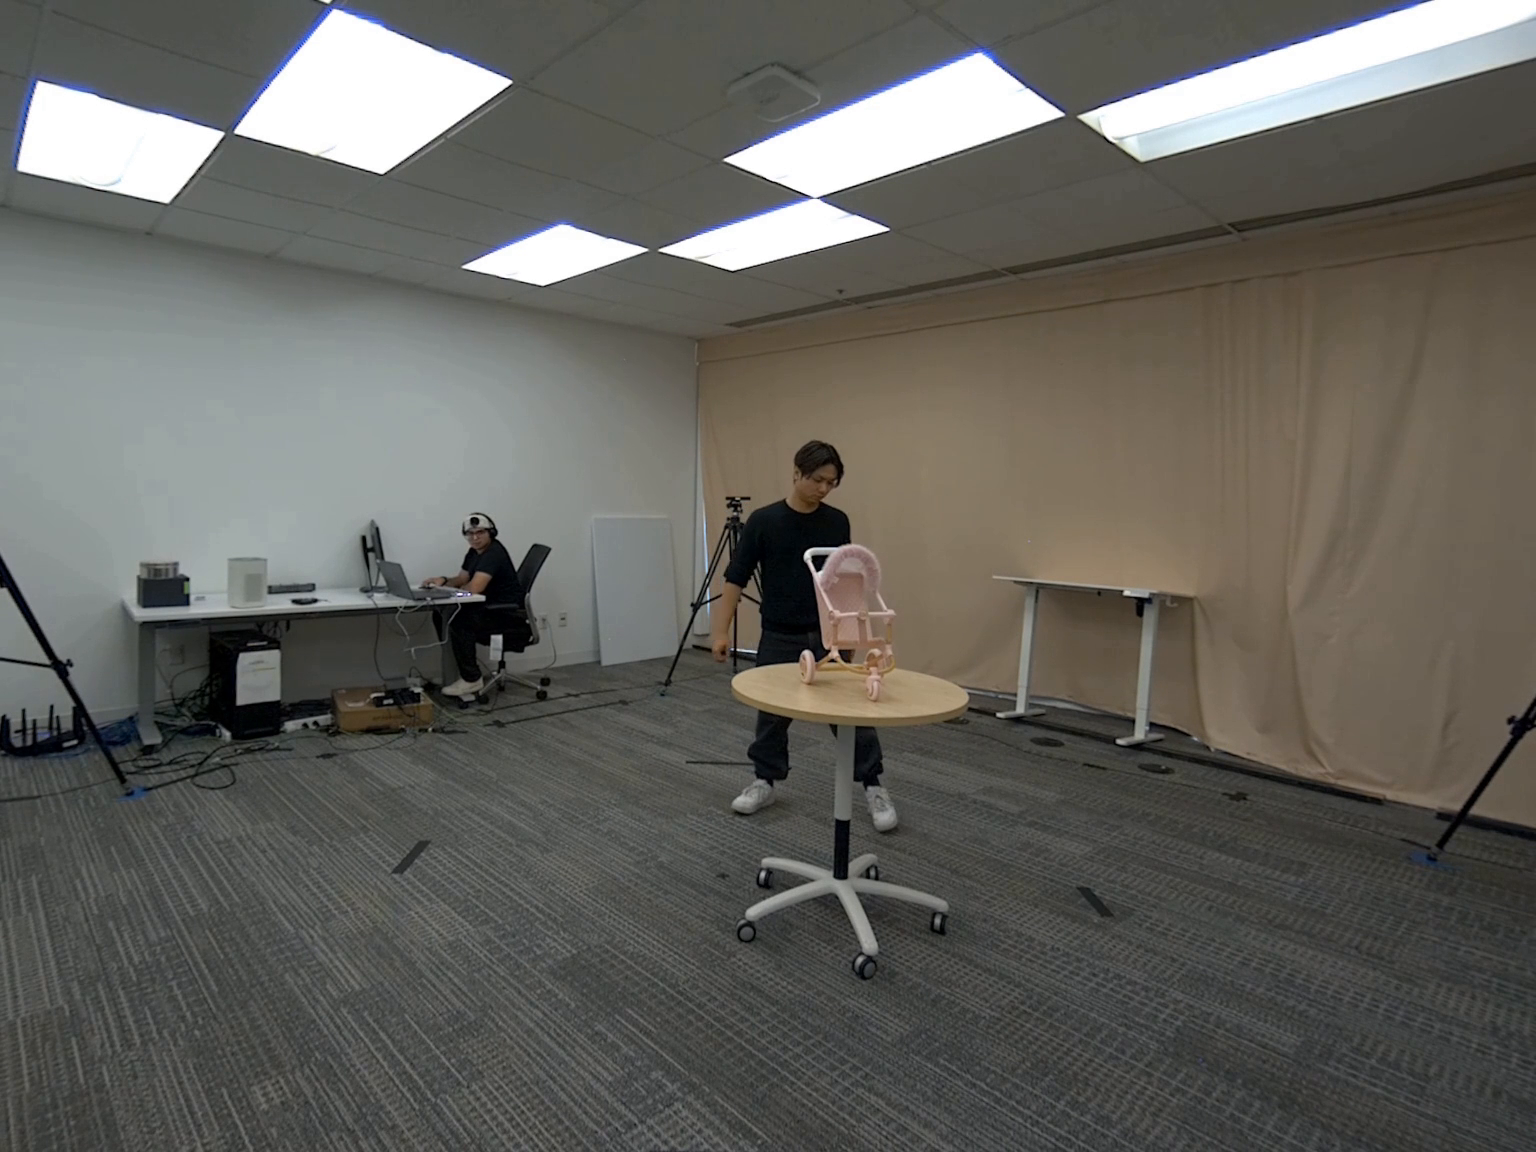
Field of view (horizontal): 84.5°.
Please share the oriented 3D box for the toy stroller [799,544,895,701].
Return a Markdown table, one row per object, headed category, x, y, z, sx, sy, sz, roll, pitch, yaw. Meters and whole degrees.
| category | x | y | z | sx | sy | sz | roll | pitch | yaw |
| --- | --- | --- | --- | --- | --- | --- | --- | --- | --- |
| toy stroller | 0.267 | 0.140 | 2.737 | 0.279 | 0.539 | 0.342 | 1 | -11 | -13 |
